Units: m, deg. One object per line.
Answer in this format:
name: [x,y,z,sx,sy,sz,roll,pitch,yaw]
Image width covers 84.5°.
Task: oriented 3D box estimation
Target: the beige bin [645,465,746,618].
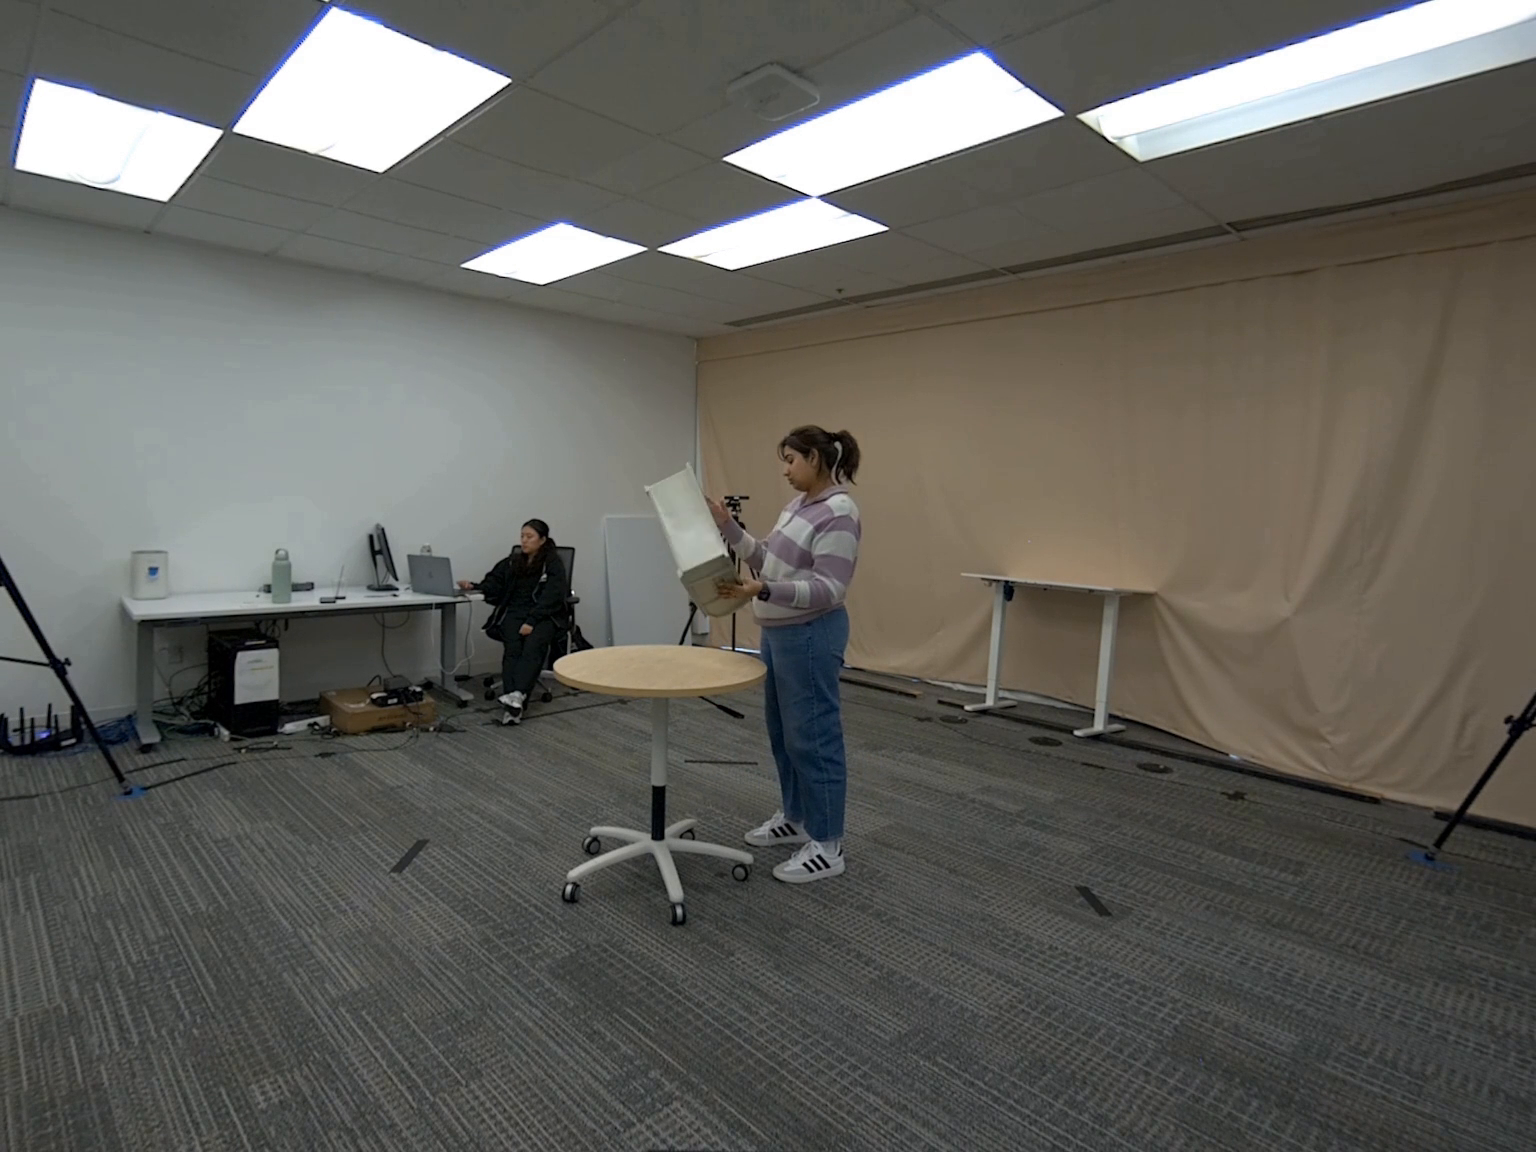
beige bin: [-0.253,-0.108,2.974,0.189,0.434,0.367,-25,-32,0]
